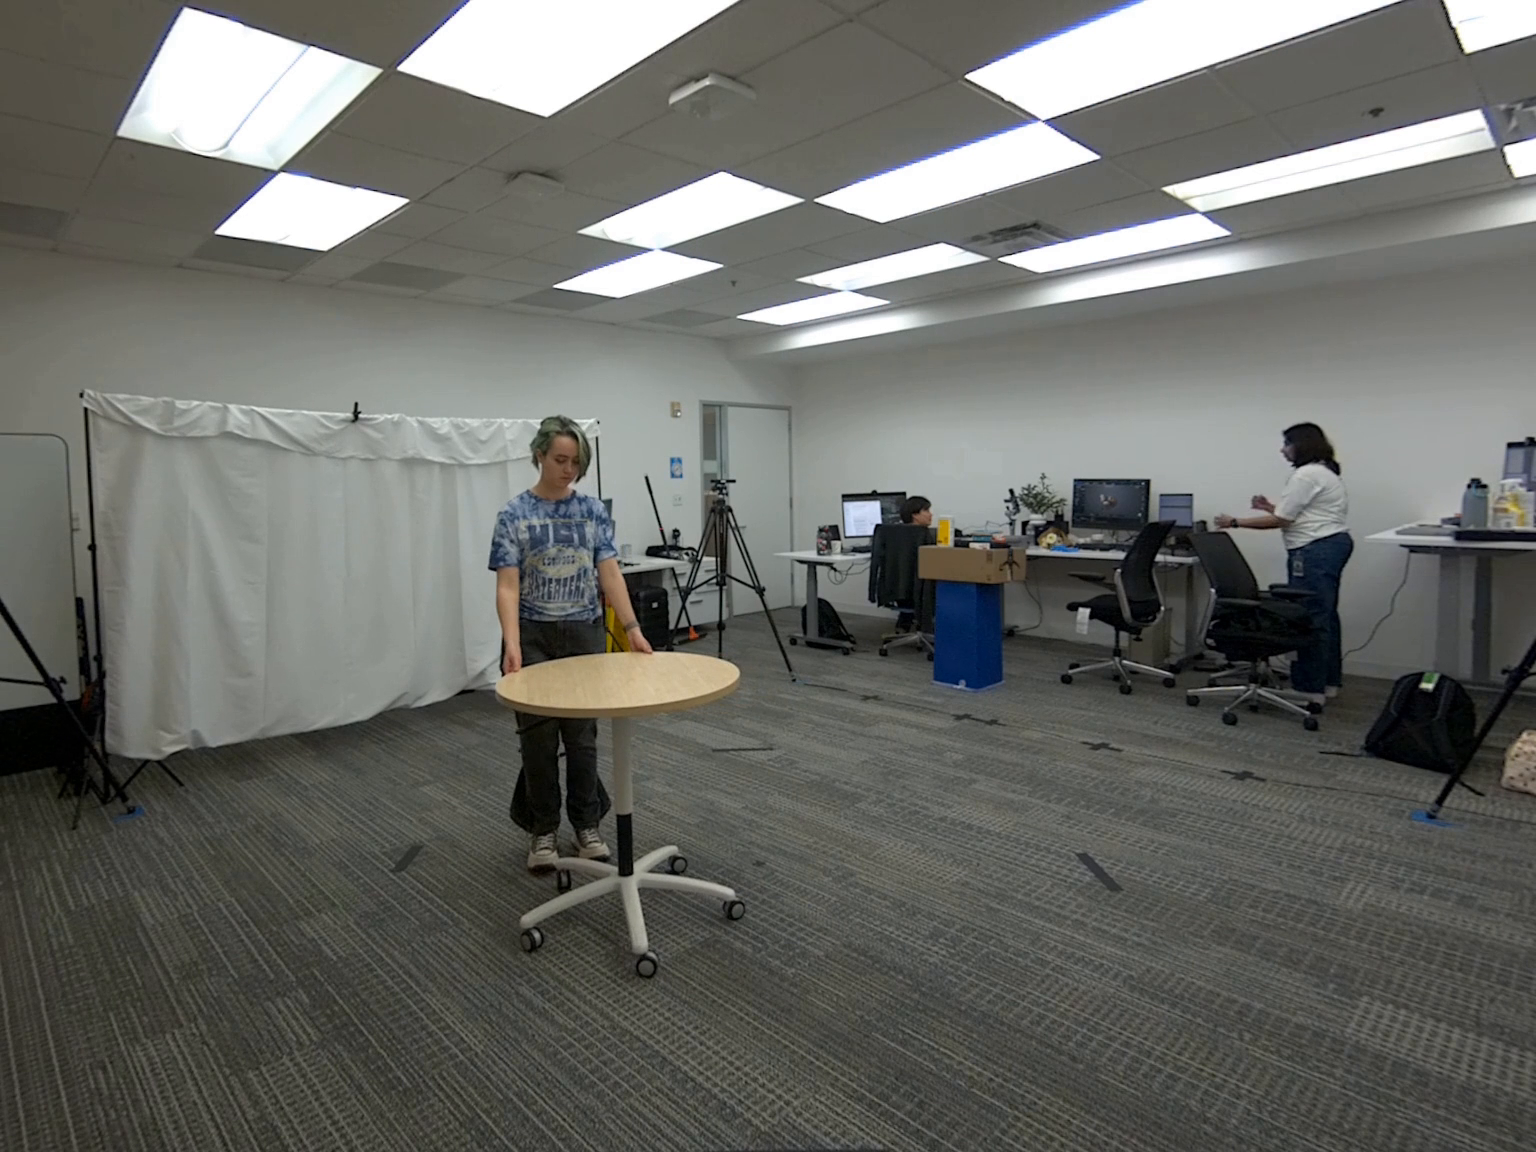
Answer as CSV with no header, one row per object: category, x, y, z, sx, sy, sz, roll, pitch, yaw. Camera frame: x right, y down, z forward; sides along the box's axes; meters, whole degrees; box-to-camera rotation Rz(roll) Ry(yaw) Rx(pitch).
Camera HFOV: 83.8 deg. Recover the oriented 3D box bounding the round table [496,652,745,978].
round table,-0.450,0.710,2.732,0.763,0.791,0.768,-2,5,-2
